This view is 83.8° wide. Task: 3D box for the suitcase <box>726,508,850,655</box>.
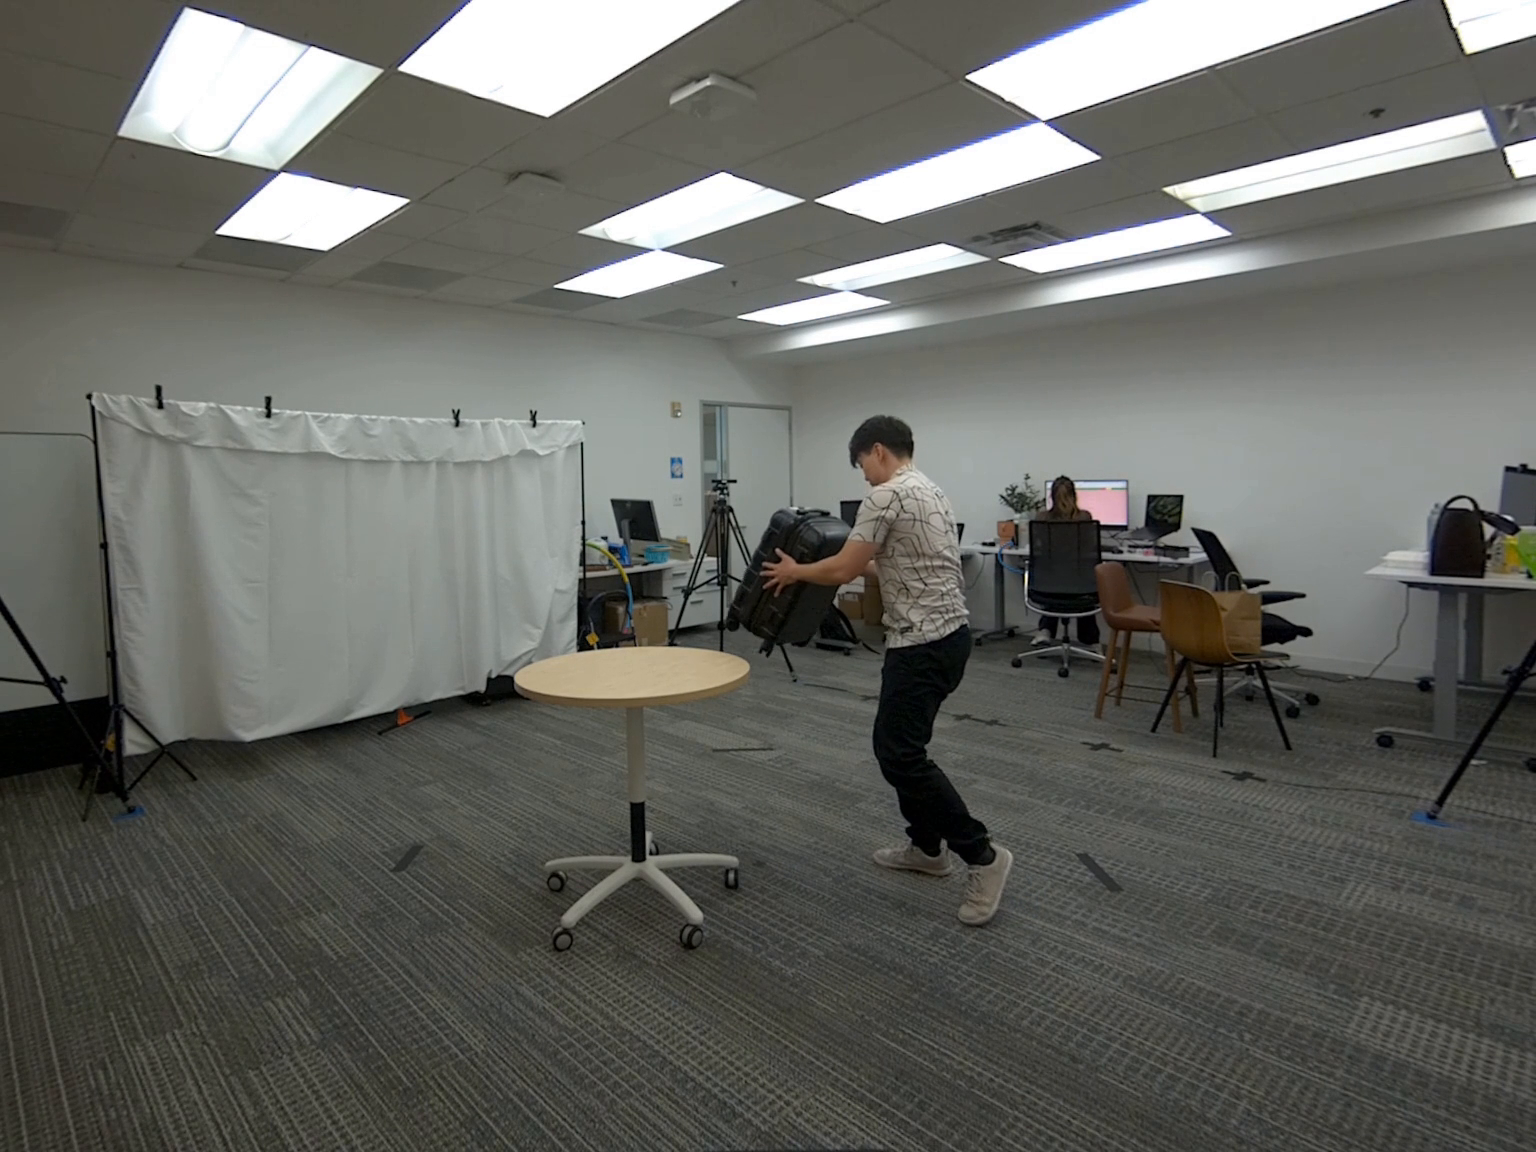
[{"bbox_3d":[0.110,0.010,3.312,0.257,0.545,0.365,34,20,29],"label":"suitcase"}]
